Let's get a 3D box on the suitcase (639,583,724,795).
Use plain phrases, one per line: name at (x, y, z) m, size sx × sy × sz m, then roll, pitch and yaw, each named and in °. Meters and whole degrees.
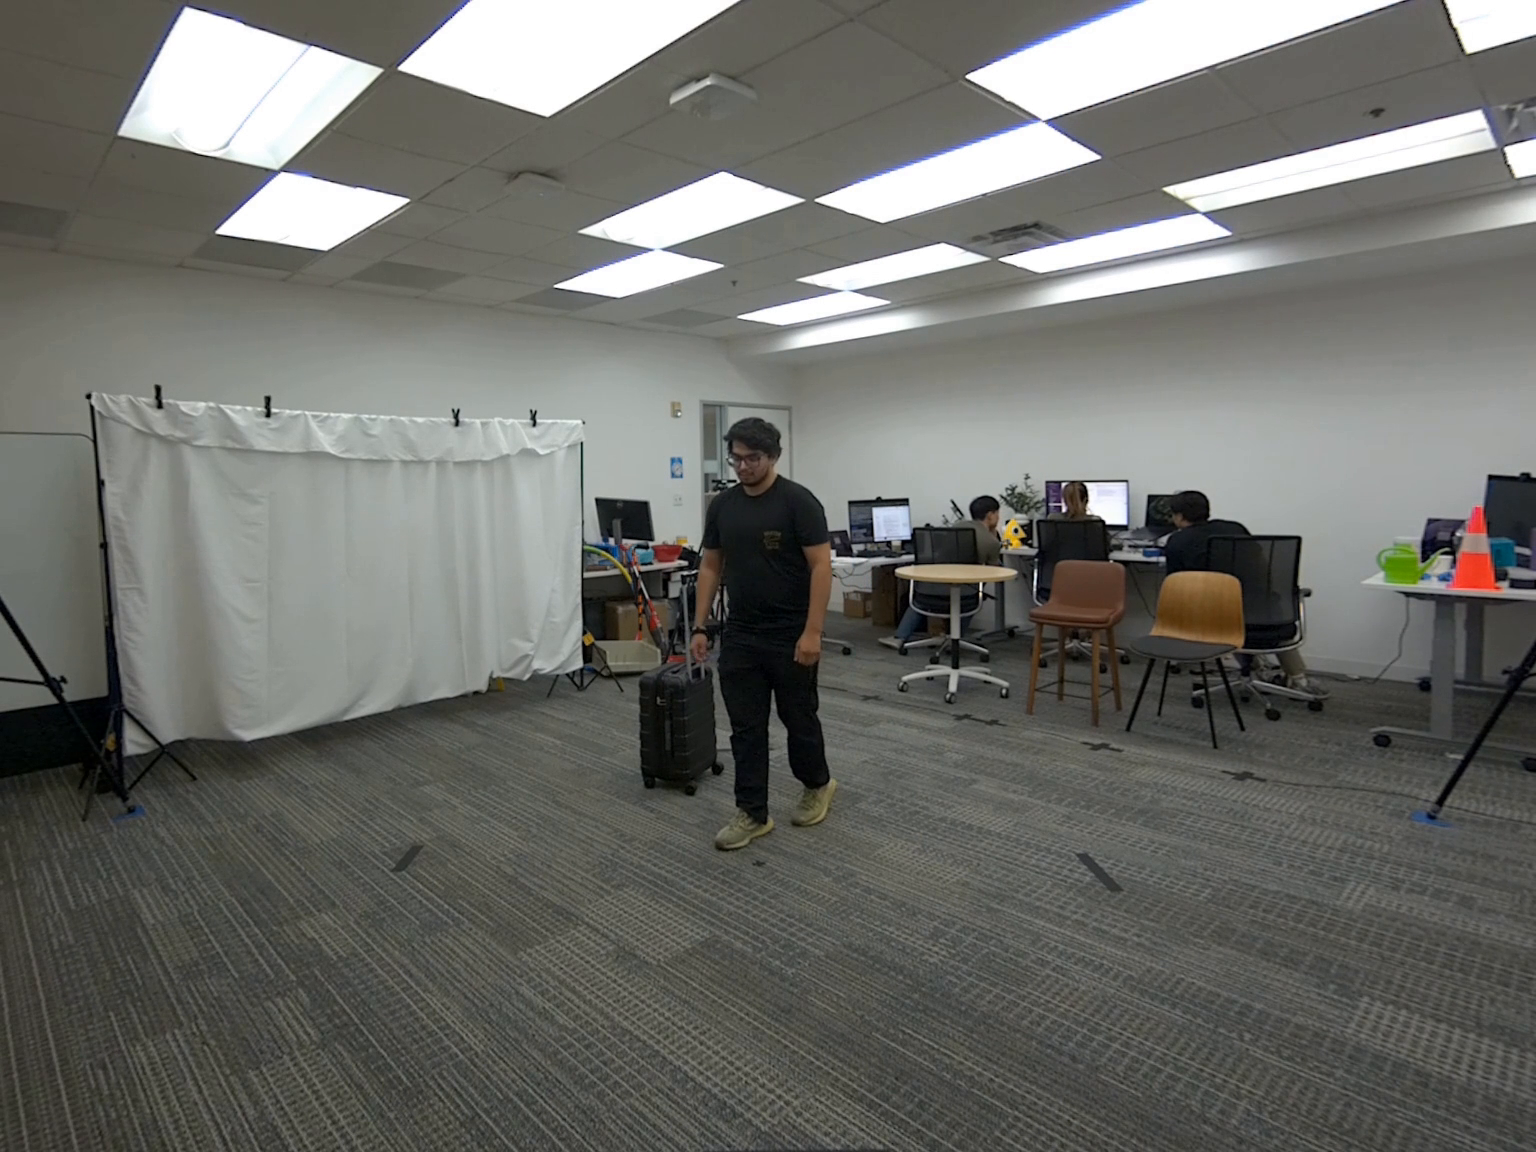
suitcase at (-0.431, 0.483, 3.979) m, size 0.262 × 0.976 × 0.377 m, roll -3°, pitch 3°, yaw 22°
